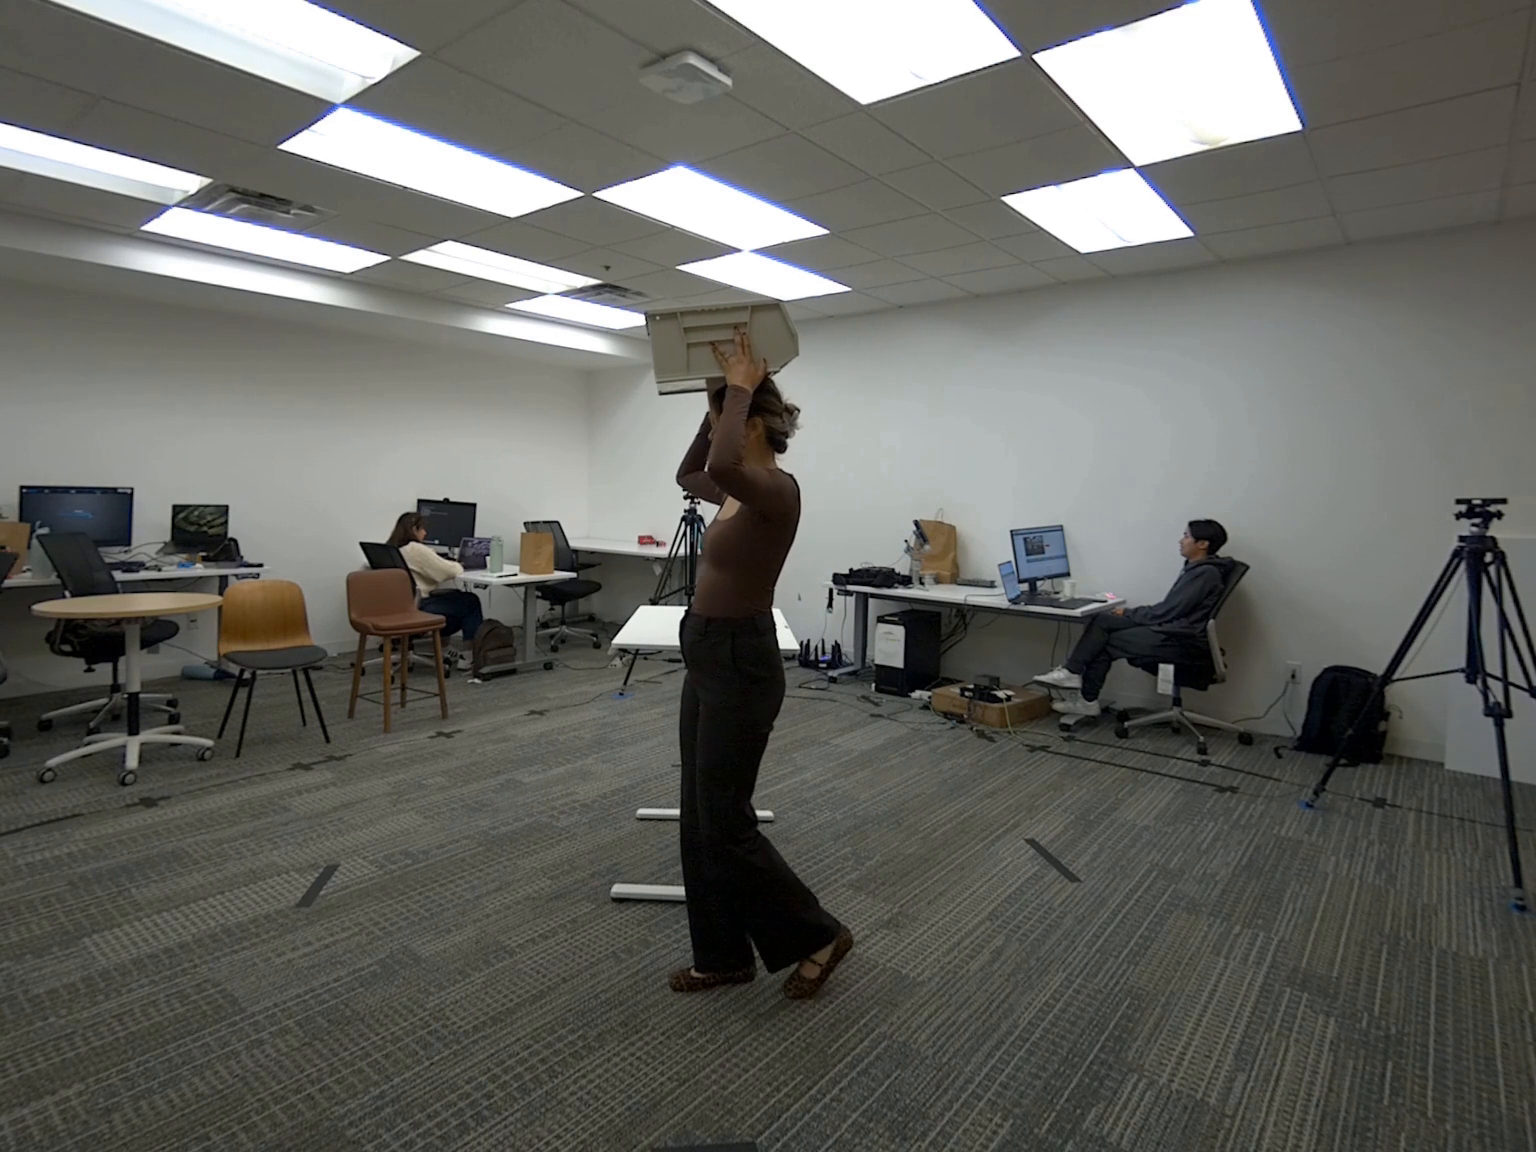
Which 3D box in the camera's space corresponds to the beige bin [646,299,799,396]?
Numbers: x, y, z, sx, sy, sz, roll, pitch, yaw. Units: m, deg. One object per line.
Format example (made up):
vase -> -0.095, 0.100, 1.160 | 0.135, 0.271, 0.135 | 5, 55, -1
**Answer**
beige bin -> -0.138, -0.623, 2.311 | 0.376, 0.188, 0.425 | -7, 6, -3
